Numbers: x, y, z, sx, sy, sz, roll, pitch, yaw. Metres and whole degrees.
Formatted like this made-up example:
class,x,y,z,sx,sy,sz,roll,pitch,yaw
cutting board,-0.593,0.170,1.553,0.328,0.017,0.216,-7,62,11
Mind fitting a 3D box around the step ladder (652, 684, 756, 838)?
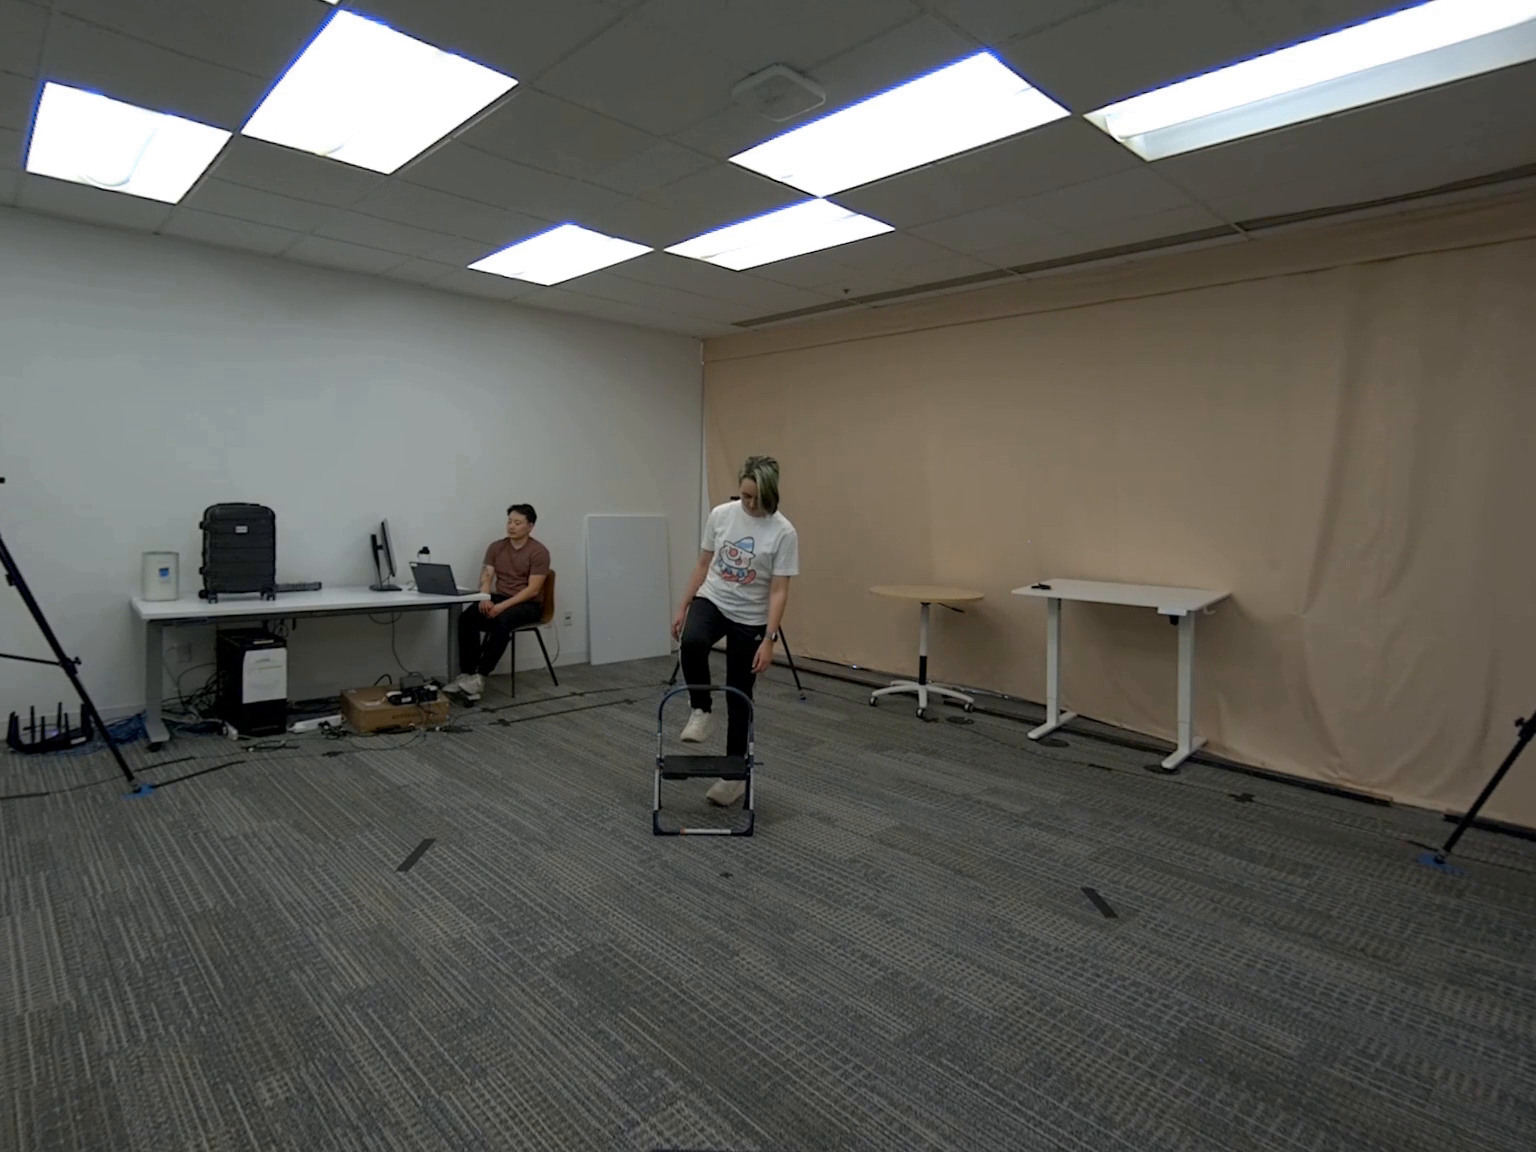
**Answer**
class,x,y,z,sx,sy,sz,roll,pitch,yaw
step ladder,-0.288,0.759,3.611,0.430,0.604,0.351,2,3,-3
